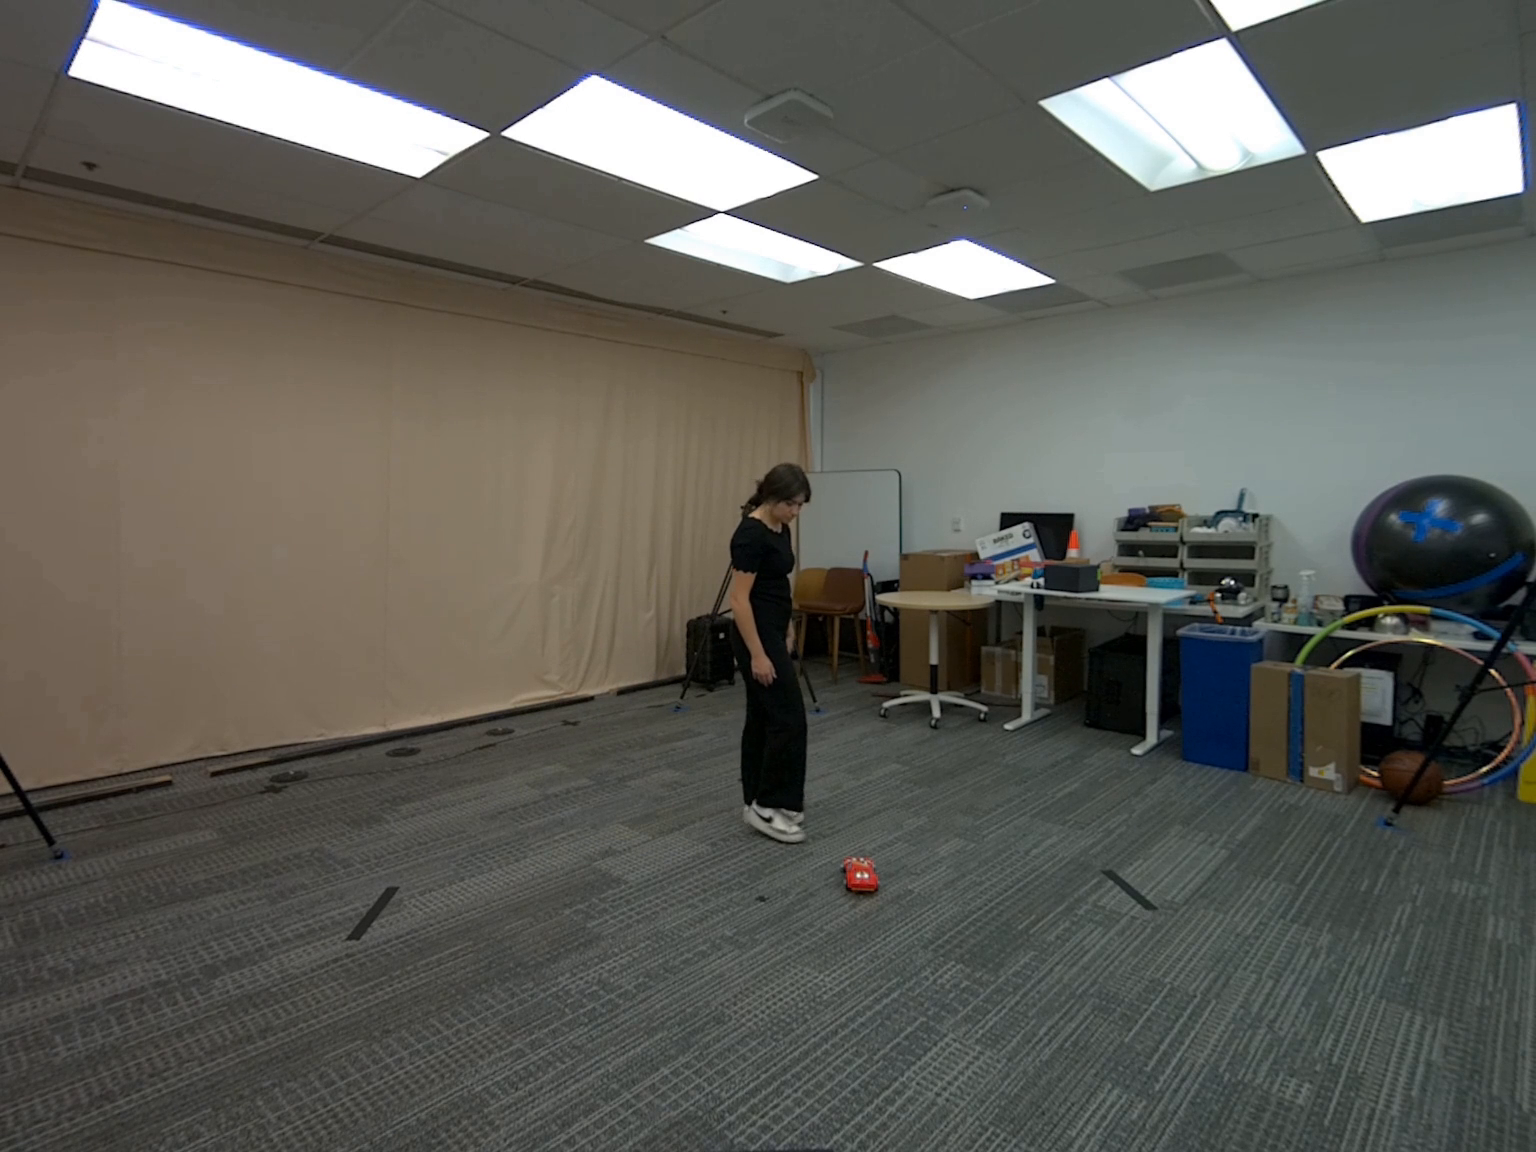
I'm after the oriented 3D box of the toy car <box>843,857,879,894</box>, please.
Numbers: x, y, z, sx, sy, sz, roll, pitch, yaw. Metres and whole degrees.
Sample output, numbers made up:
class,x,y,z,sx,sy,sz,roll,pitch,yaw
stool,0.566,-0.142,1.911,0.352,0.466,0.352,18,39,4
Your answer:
class,x,y,z,sx,sy,sz,roll,pitch,yaw
toy car,0.345,1.102,3.096,0.131,0.083,0.252,0,-7,2
